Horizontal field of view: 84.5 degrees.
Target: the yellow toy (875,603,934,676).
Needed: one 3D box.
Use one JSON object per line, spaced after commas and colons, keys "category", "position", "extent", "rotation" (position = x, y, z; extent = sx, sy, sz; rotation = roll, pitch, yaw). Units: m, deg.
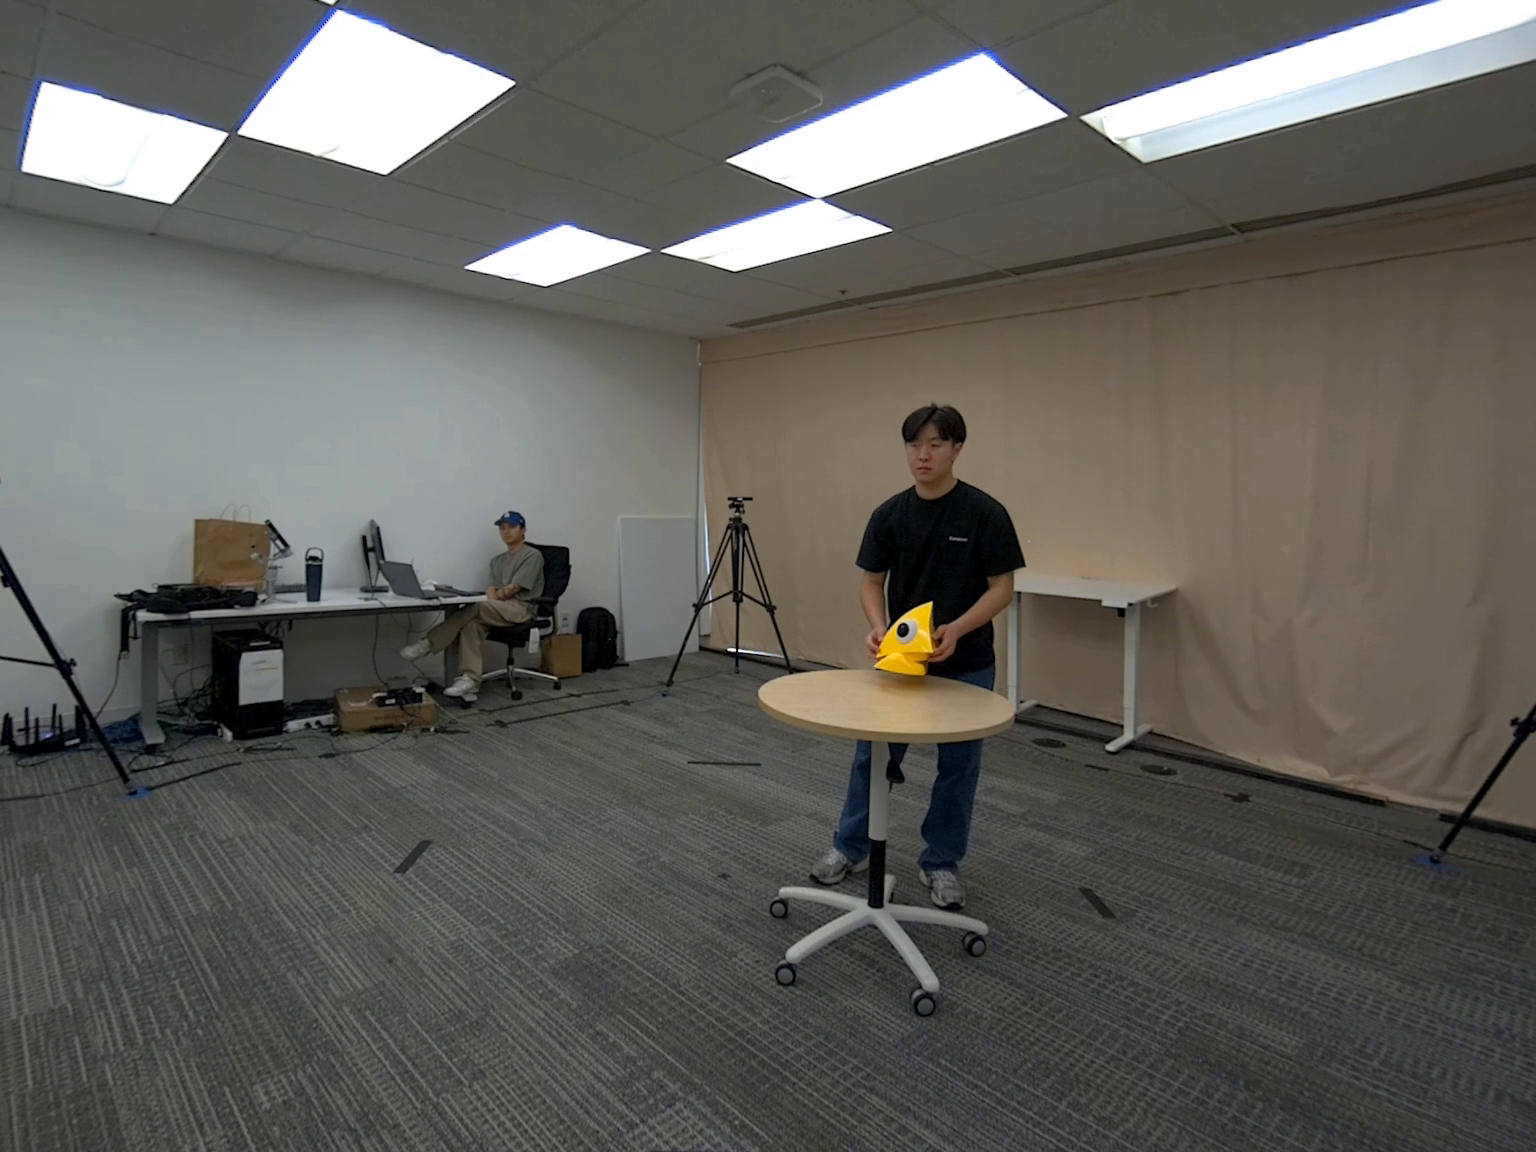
{"category": "yellow toy", "position": [0.452, 0.192, 2.727], "extent": [0.196, 0.230, 0.201], "rotation": [7, 1, 19]}
